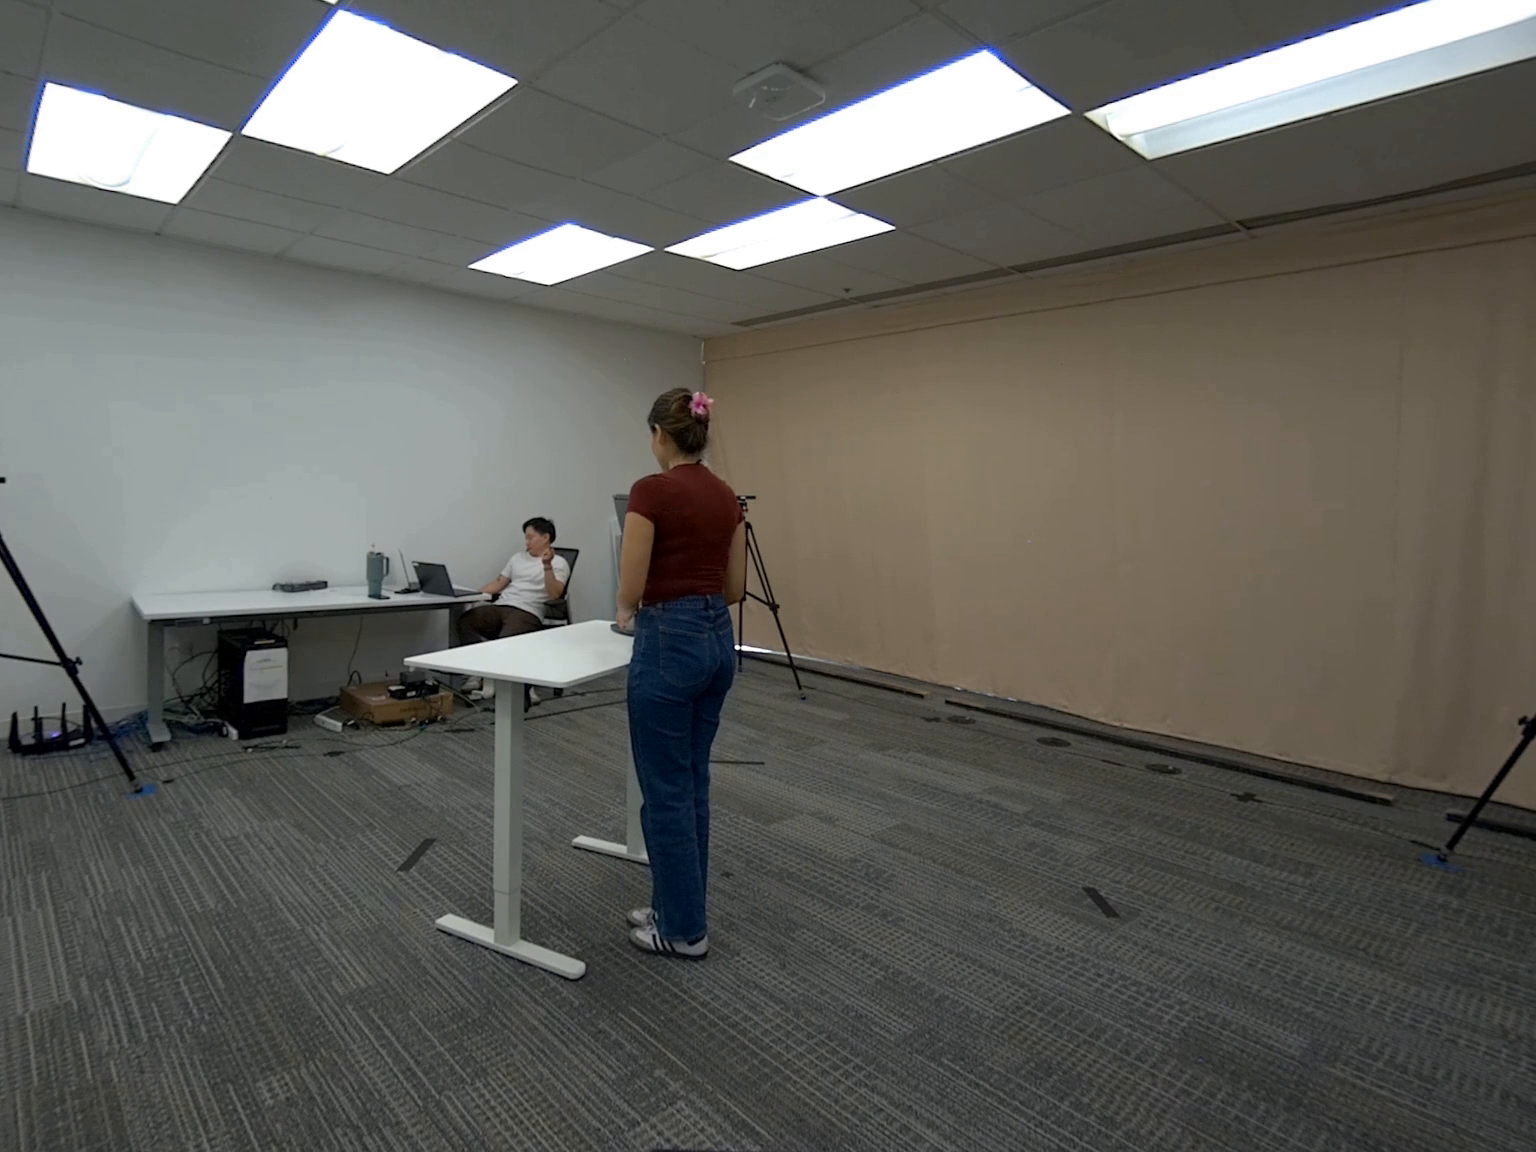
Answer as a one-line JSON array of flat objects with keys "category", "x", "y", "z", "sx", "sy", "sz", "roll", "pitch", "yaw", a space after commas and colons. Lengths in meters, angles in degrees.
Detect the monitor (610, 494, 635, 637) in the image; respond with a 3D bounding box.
[{"category": "monitor", "x": -0.486, "y": -0.042, "z": 3.135, "sx": 0.184, "sy": 0.521, "sz": 0.550, "roll": -4, "pitch": 6, "yaw": -26}]
